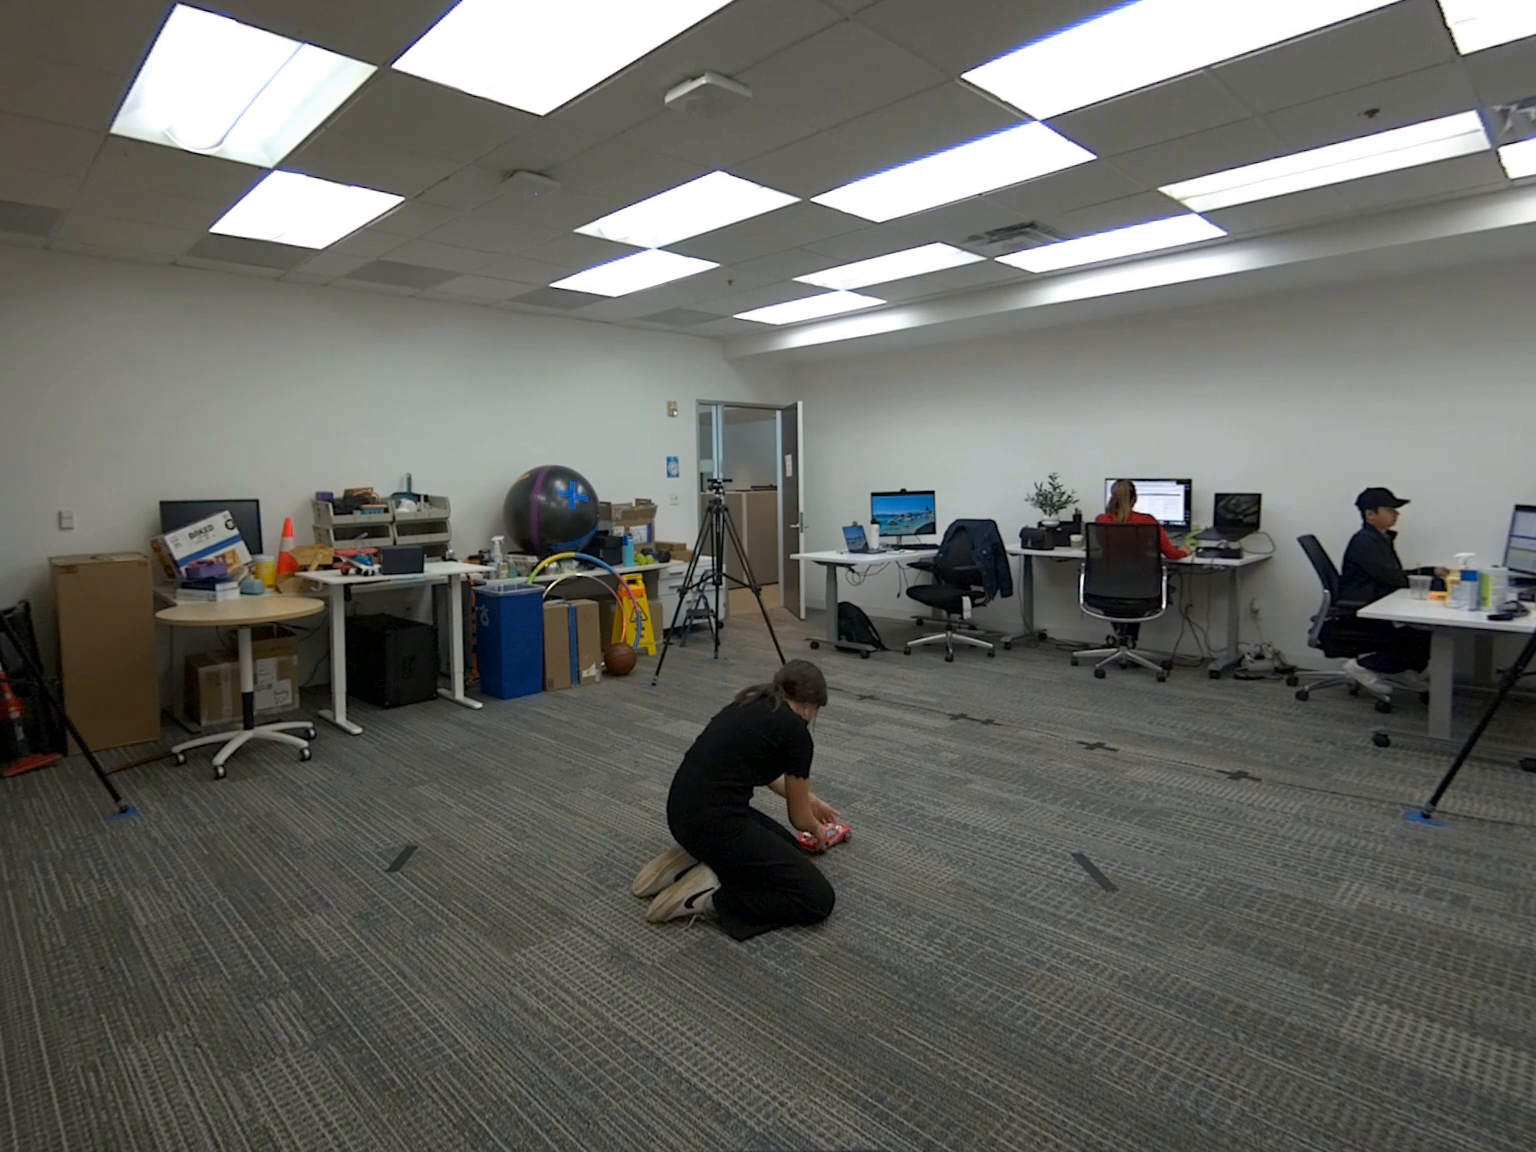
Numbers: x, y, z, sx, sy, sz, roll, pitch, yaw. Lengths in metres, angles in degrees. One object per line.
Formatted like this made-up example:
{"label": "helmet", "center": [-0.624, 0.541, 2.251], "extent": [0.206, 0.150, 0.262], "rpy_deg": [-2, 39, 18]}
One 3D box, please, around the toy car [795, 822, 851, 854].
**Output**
{"label": "toy car", "center": [0.204, 0.995, 3.246], "extent": [0.246, 0.083, 0.134], "rpy_deg": [9, -3, -43]}
